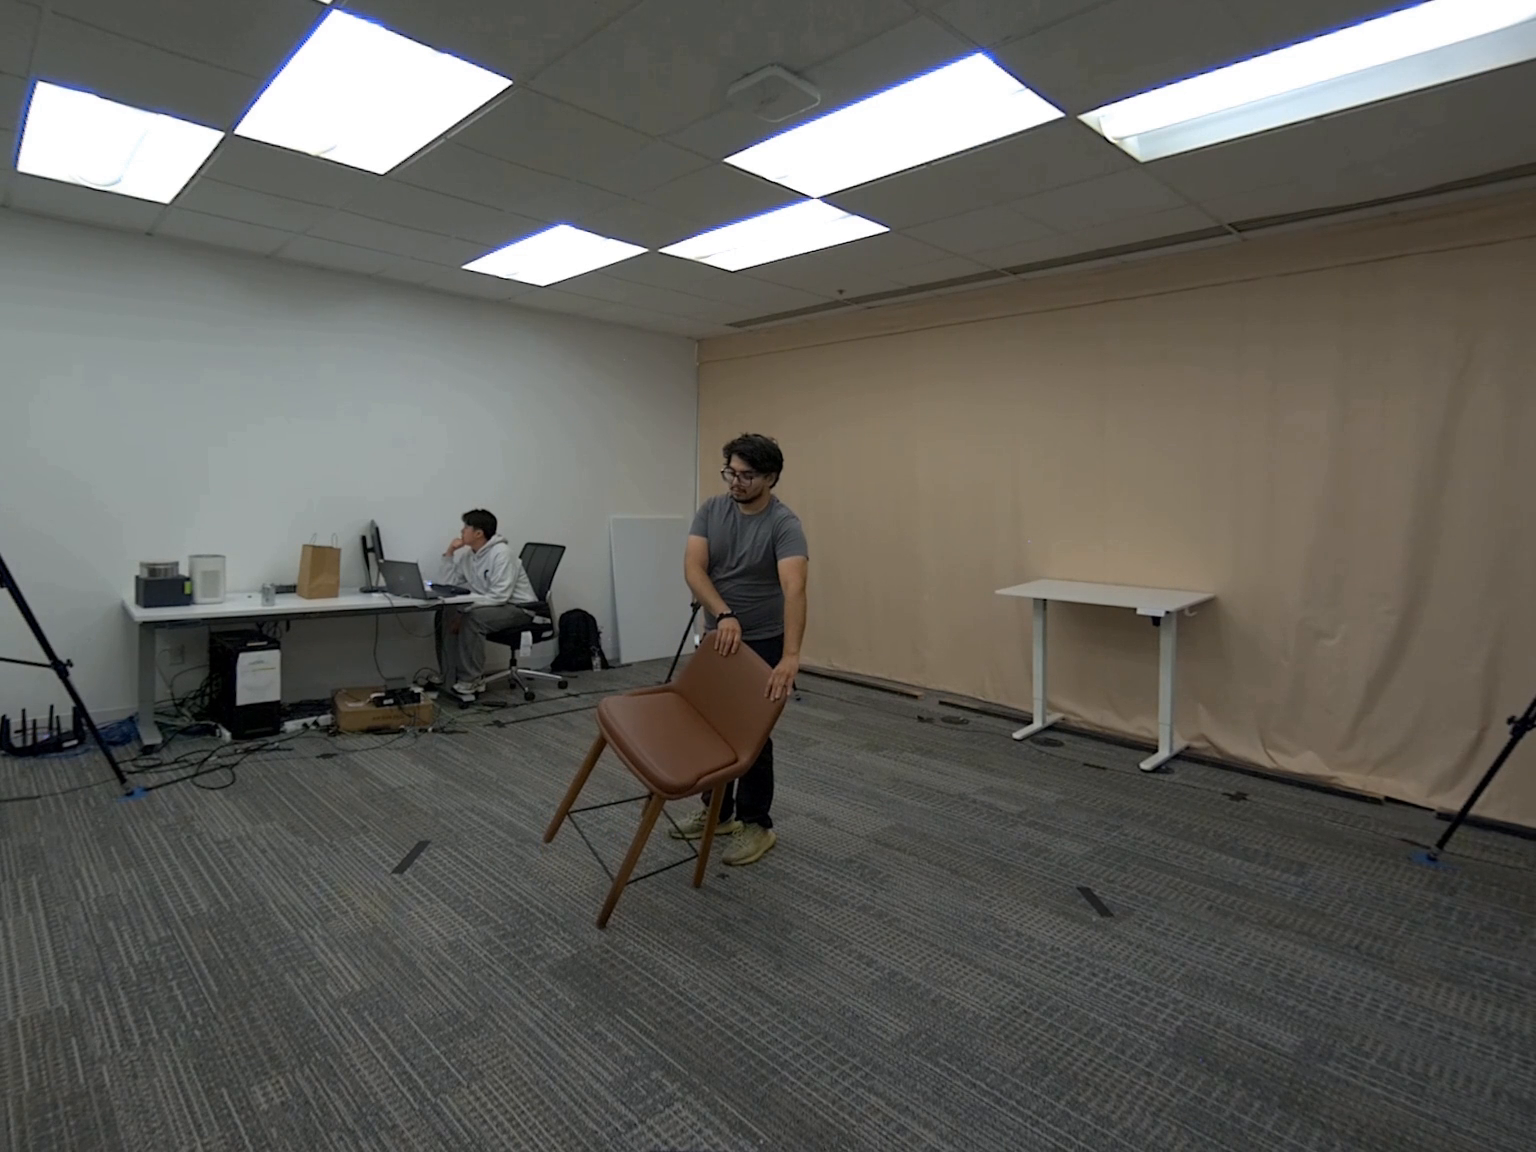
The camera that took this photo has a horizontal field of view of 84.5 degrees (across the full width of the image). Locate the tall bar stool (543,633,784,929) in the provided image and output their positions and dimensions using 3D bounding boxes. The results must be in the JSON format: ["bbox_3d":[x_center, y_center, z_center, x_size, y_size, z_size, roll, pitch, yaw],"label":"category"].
[{"bbox_3d":[-0.356,0.655,2.822,0.456,0.883,0.471,2,28,-45],"label":"tall bar stool"}]
